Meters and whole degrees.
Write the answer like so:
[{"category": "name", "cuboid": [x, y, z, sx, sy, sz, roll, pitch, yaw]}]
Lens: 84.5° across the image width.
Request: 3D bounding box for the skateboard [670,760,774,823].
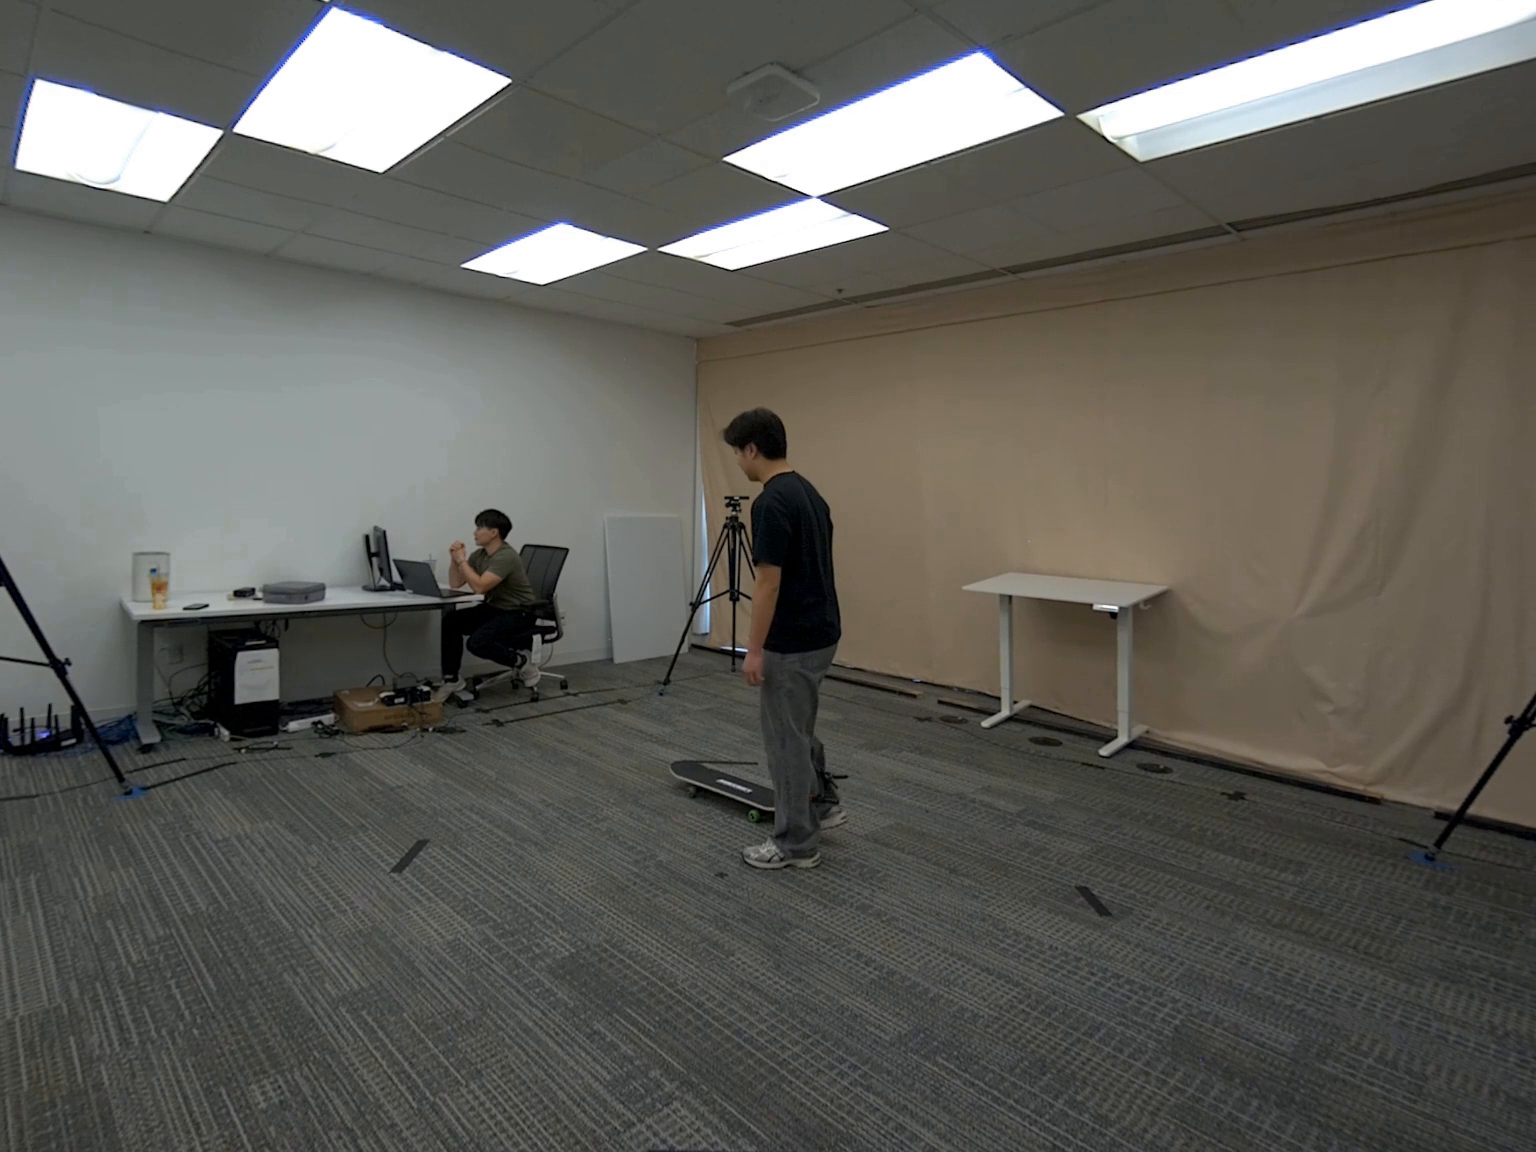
[{"category": "skateboard", "cuboid": [-0.167, 0.988, 3.826, 0.806, 0.110, 0.189, 7, 7, 43]}]
